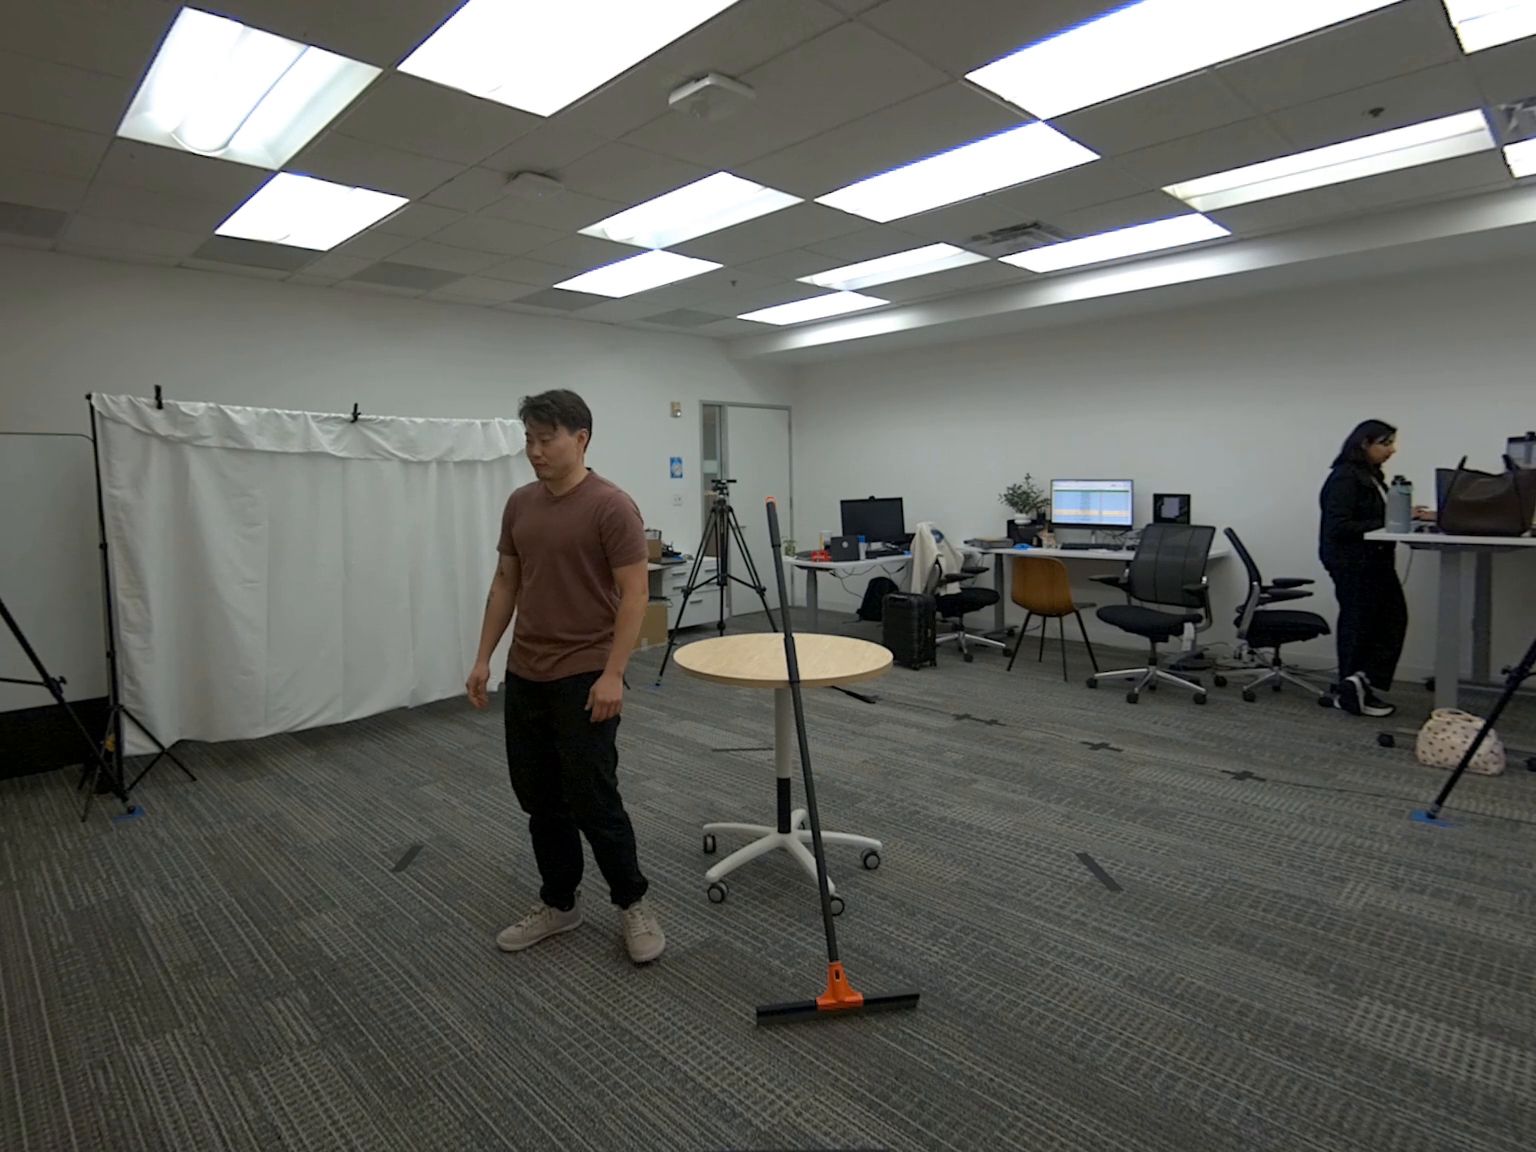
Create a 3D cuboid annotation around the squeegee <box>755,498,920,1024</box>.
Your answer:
[{"bbox_3d":[0.103,0.422,2.538,0.435,1.574,0.052,-4,-25,-6],"label":"squeegee"}]
